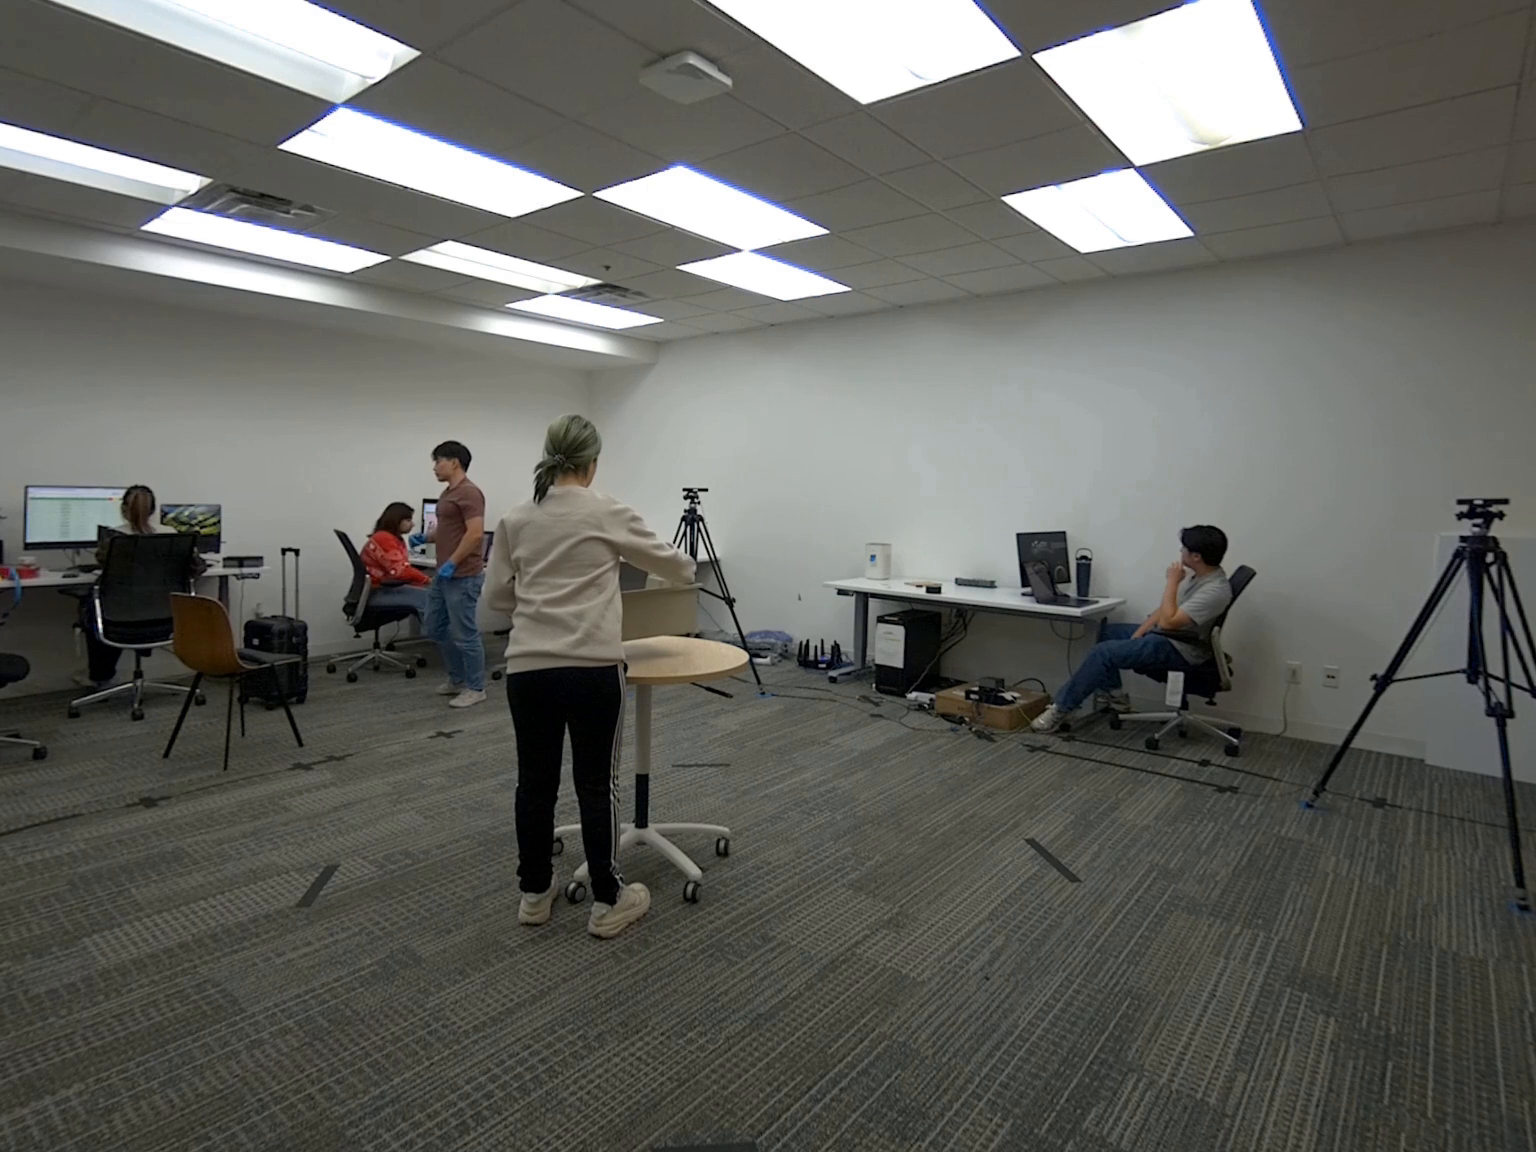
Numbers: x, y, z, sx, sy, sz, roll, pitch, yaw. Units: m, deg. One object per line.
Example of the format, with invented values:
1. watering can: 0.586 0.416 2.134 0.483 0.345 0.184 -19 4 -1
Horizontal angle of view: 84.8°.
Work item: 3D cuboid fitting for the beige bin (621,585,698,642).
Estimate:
1. beige bin: -0.519 0.117 3.103 0.410 0.188 0.390 -4 9 -36
